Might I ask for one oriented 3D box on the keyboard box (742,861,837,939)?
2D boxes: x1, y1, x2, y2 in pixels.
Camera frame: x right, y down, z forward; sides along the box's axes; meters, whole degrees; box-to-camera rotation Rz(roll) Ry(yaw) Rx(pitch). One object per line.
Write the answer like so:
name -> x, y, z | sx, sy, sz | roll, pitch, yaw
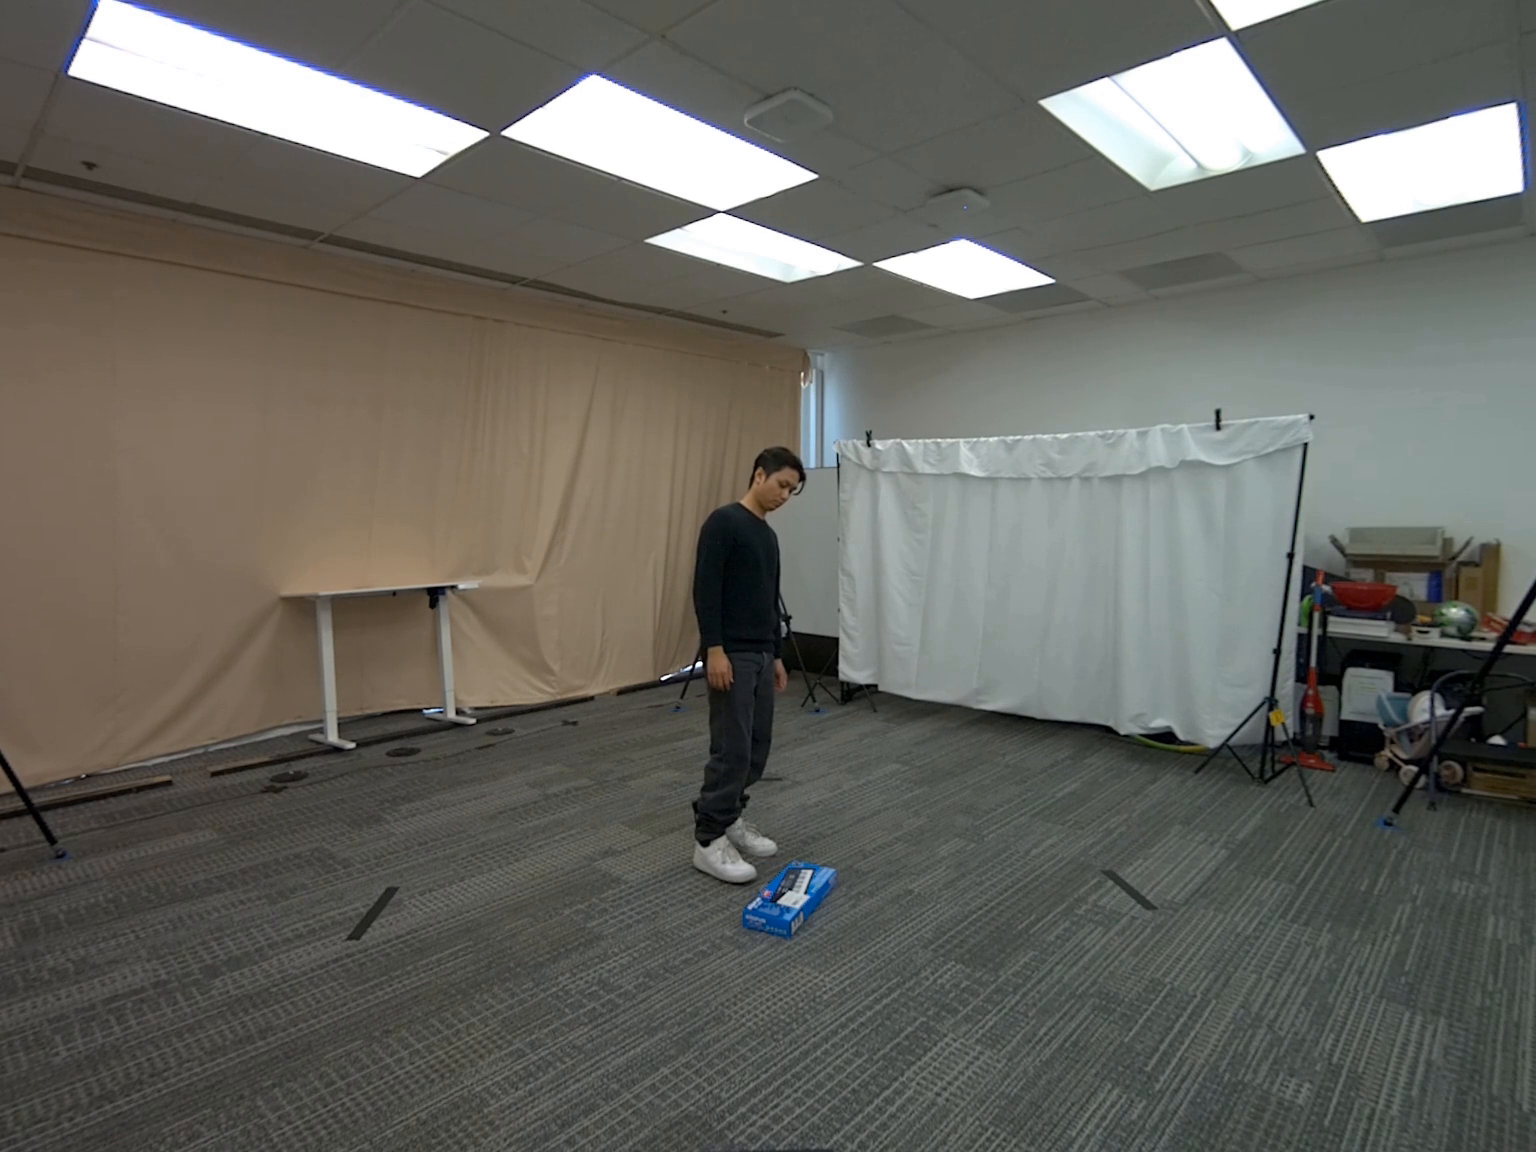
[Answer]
keyboard box -> 0.089, 1.117, 2.934 | 0.180, 0.059, 0.426 | 2, 5, 25
